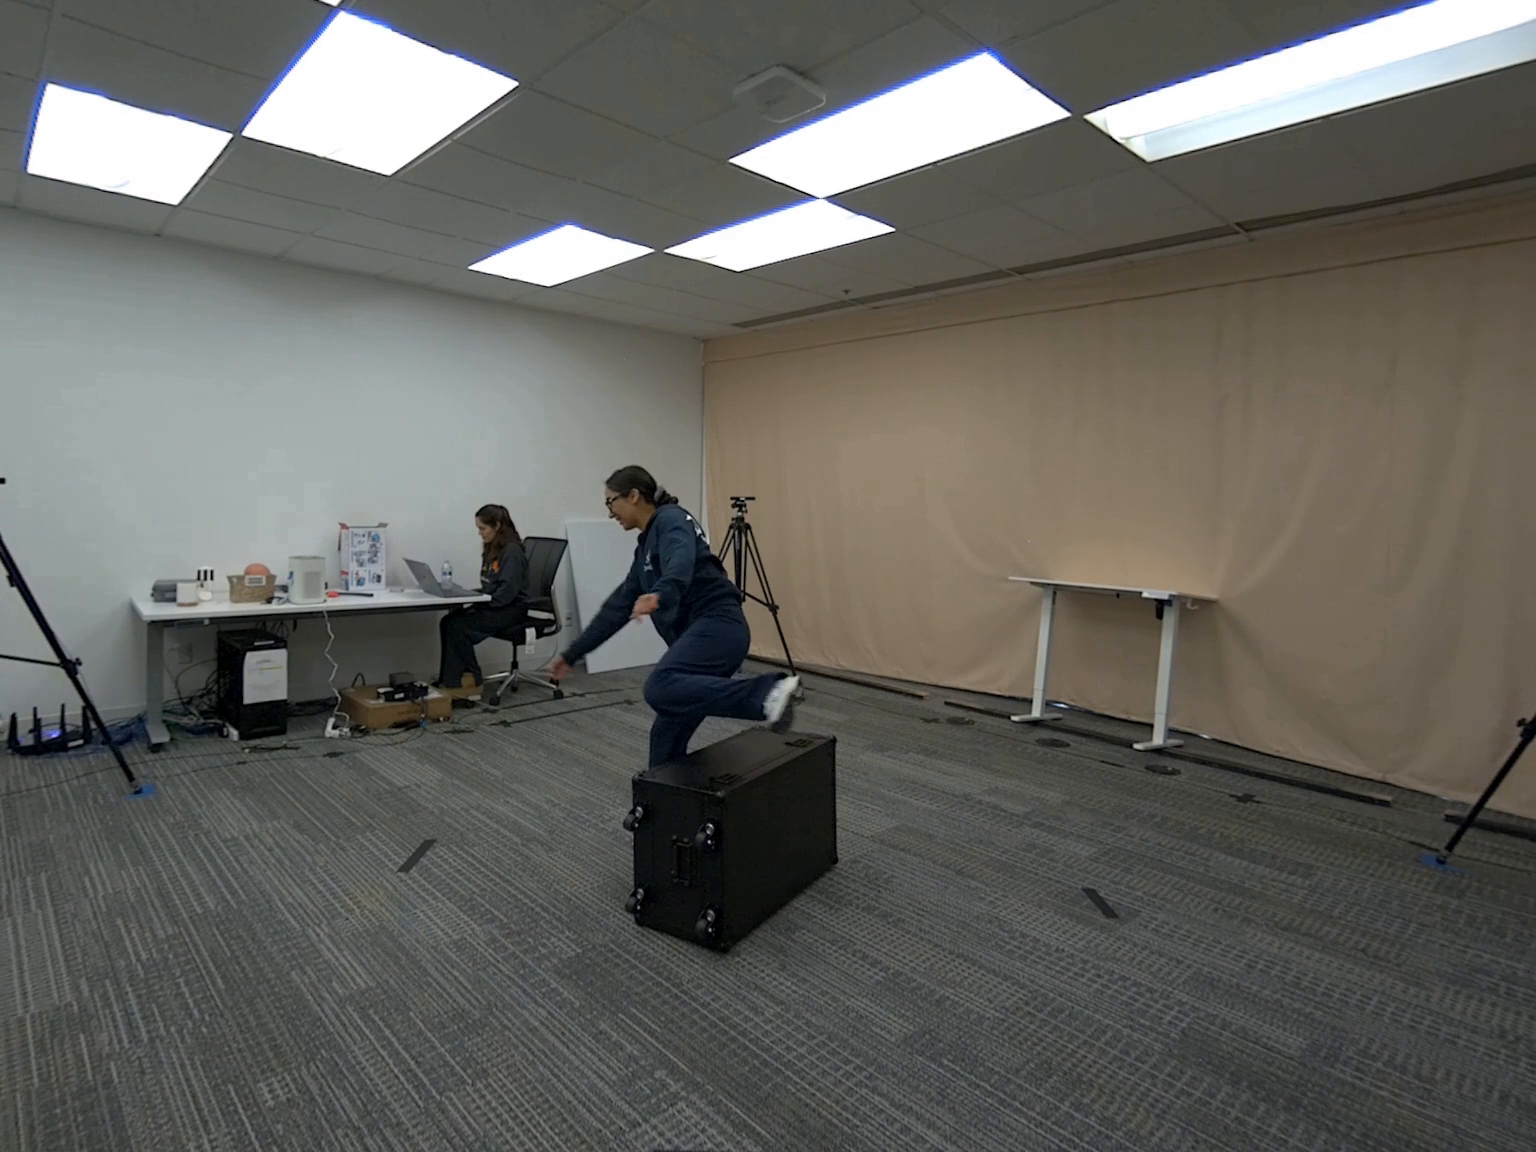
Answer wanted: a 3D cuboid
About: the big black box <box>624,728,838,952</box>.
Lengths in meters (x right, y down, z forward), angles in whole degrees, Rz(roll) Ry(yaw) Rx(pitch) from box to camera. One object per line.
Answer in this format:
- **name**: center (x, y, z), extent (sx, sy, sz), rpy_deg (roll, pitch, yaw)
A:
- **big black box**: center (-0.119, 0.867, 2.939), extent (0.405, 0.520, 0.845), rpy_deg (1, 4, 30)
